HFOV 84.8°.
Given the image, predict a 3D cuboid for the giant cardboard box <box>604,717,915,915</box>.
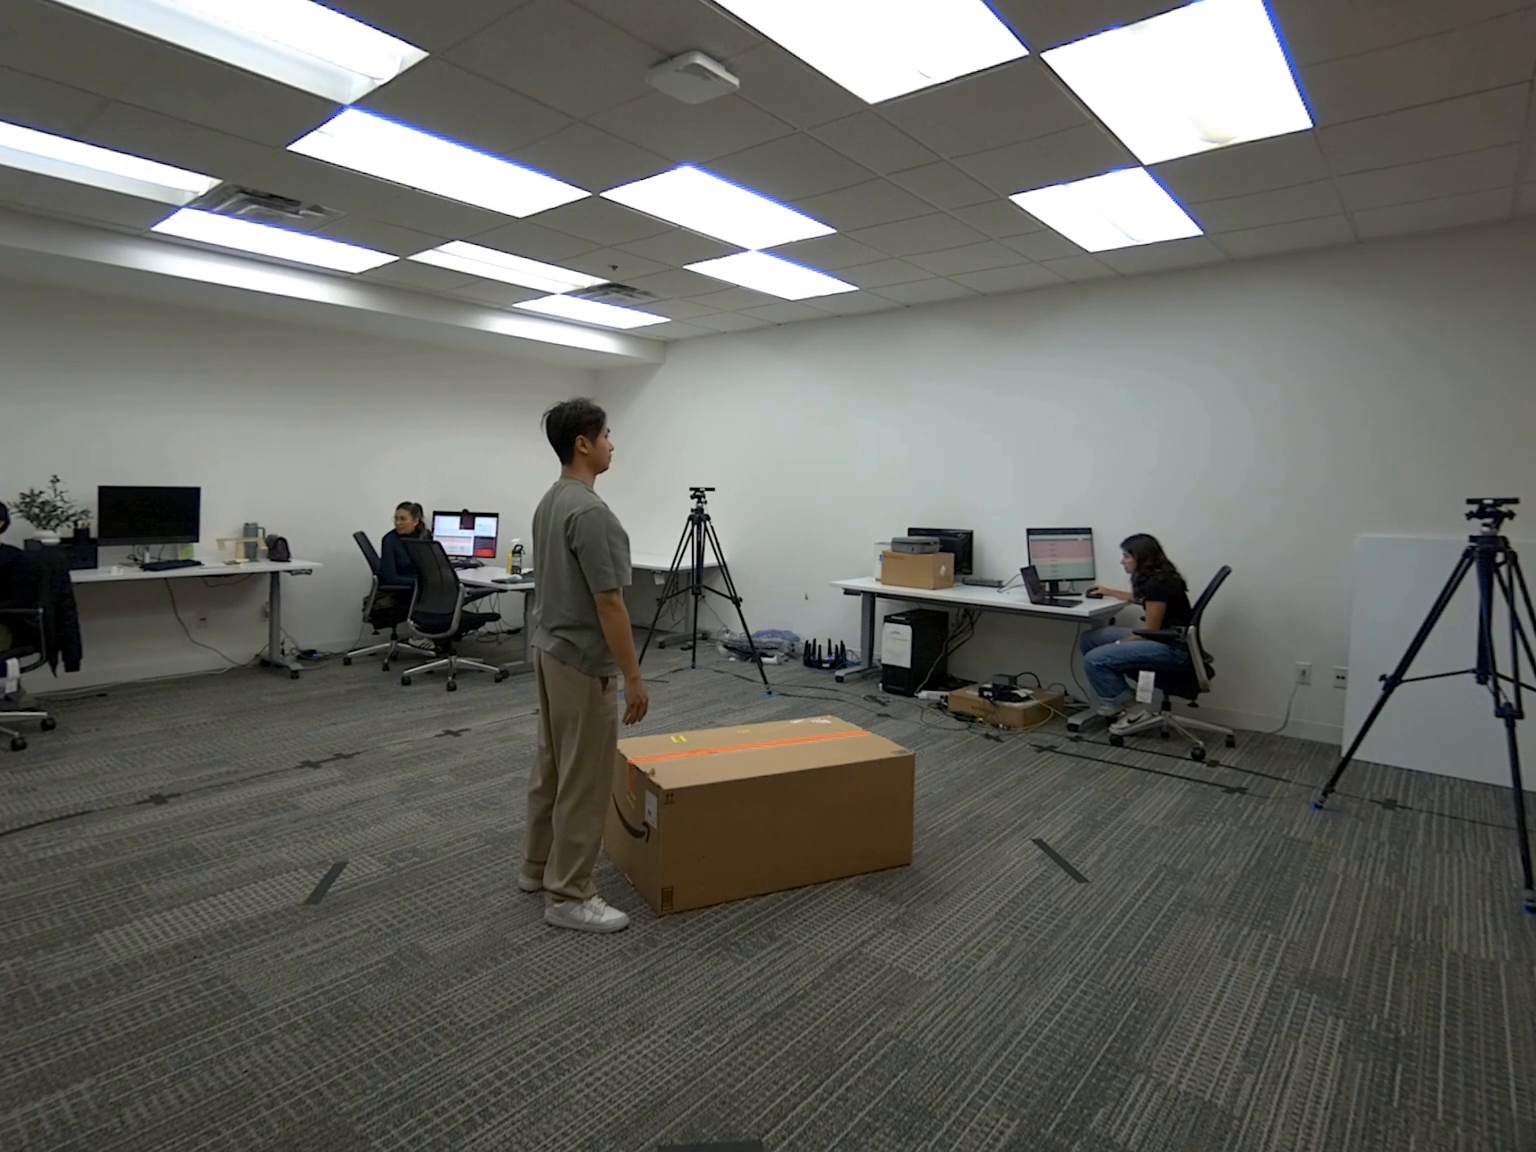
[{"bbox_3d":[-0.049,0.846,3.207,1.000,0.424,0.595,-1,6,-27],"label":"giant cardboard box"}]
